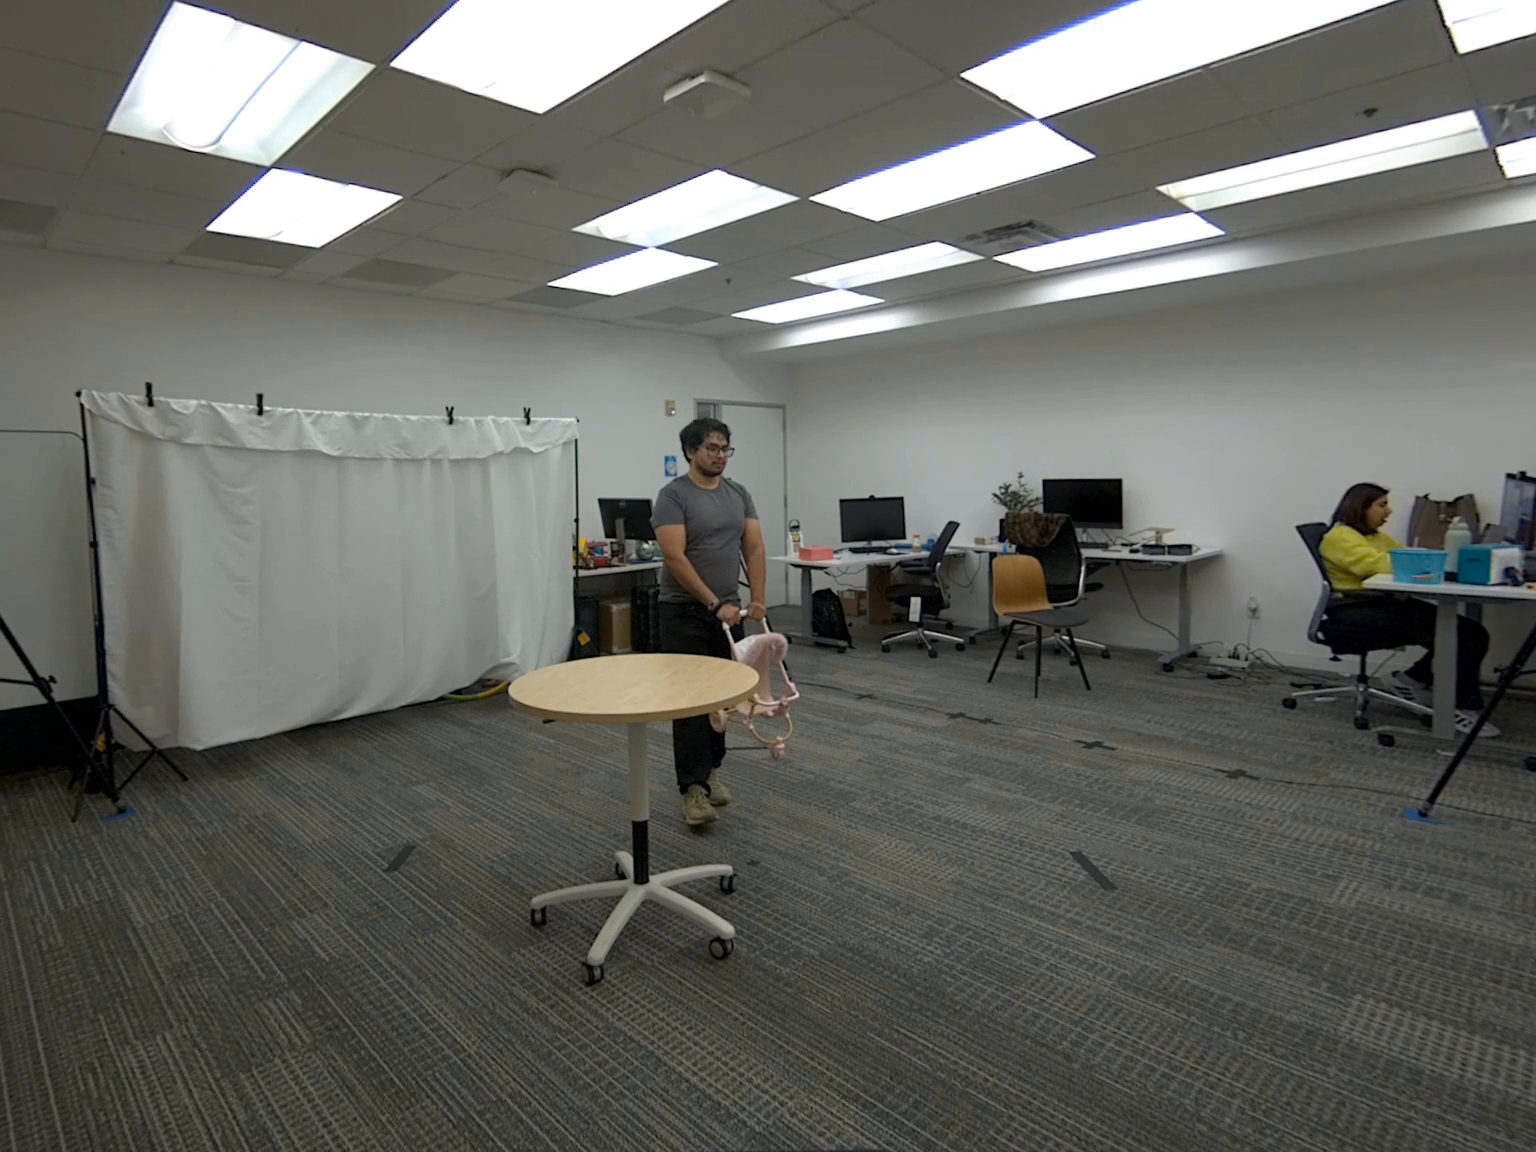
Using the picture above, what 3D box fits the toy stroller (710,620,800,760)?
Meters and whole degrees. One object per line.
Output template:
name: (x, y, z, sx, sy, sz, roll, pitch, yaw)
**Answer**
toy stroller: (-0.036, 0.442, 3.415, 0.275, 0.529, 0.353, -6, 15, -33)
